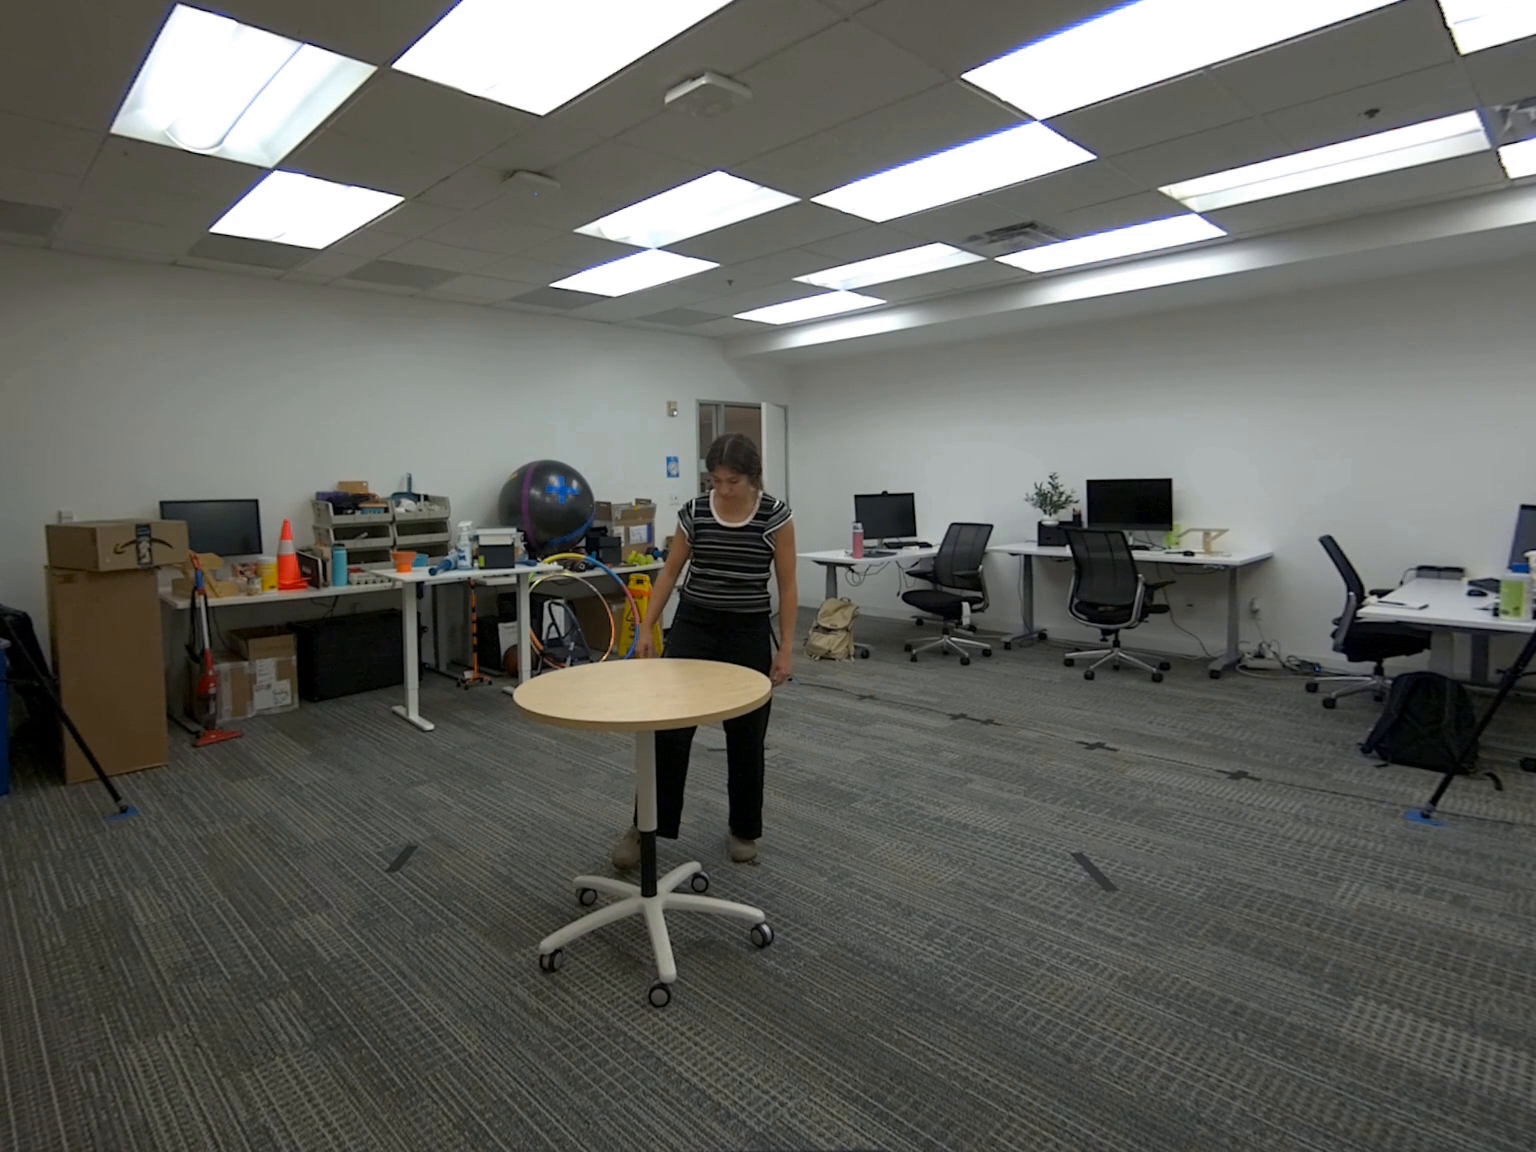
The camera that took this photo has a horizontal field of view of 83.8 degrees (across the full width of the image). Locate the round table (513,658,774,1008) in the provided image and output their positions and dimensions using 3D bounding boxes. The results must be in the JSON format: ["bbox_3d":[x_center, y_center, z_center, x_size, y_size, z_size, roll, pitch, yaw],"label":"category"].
[{"bbox_3d":[-0.361,0.719,2.573,0.784,0.783,0.789,-2,5,-2],"label":"round table"}]
